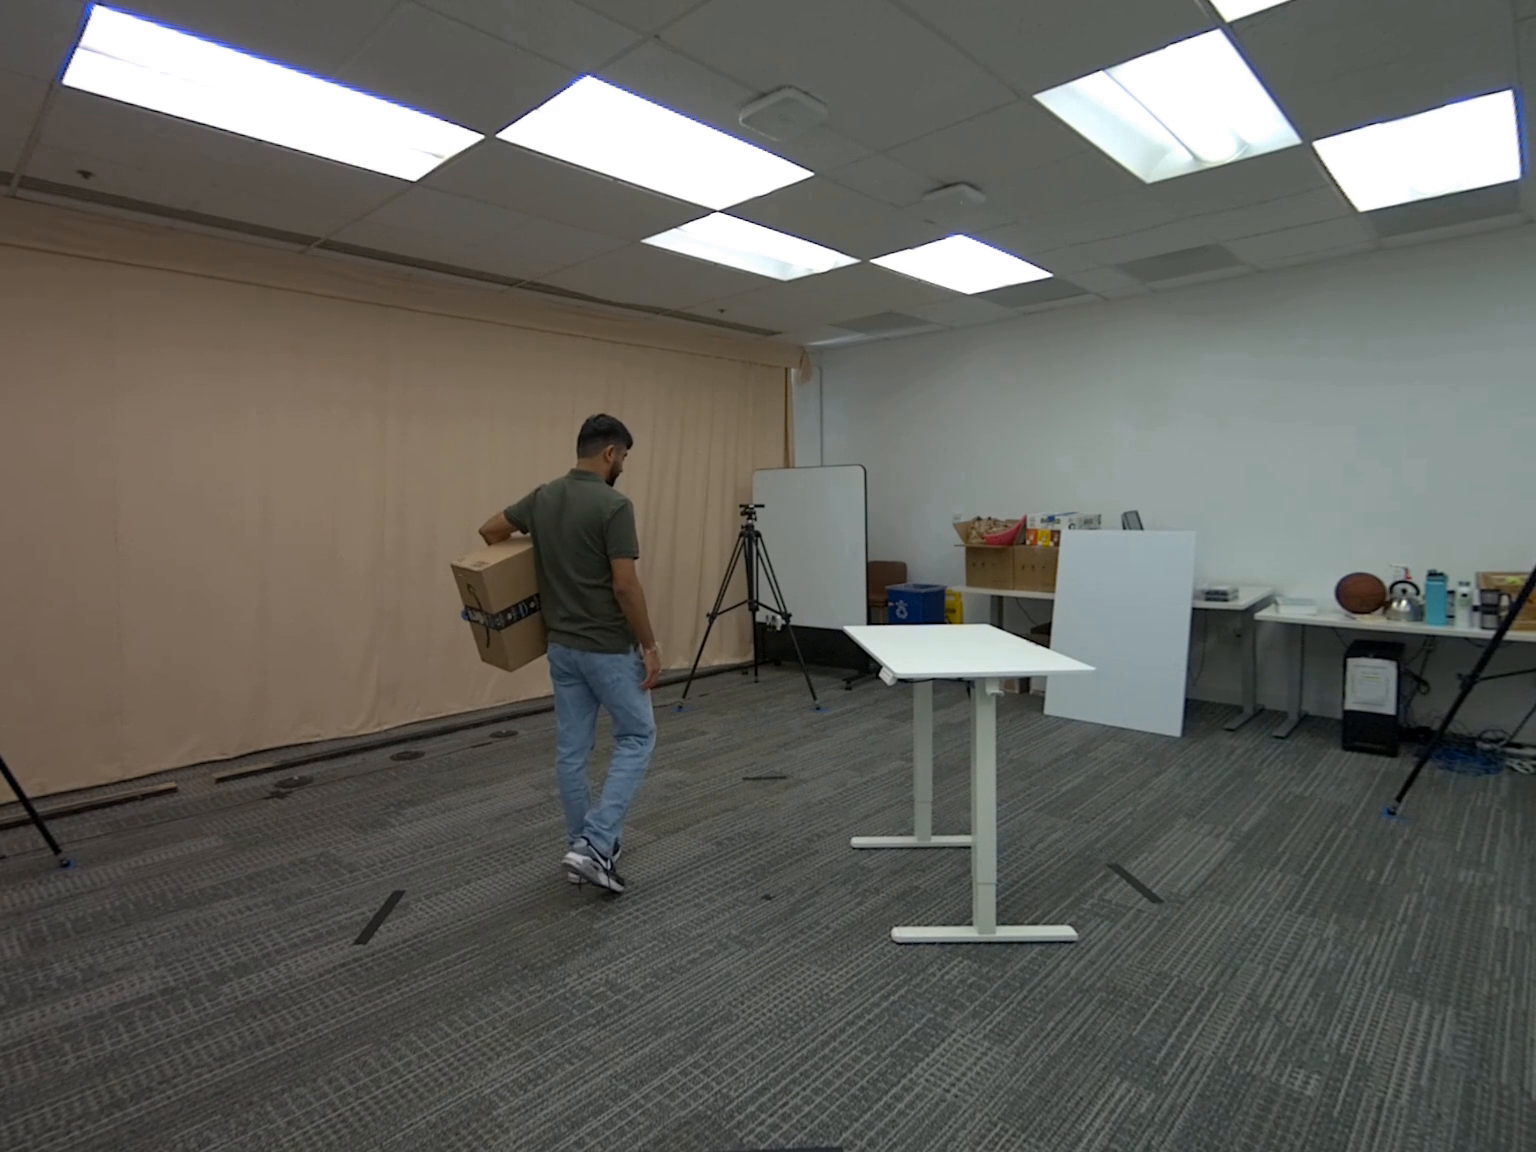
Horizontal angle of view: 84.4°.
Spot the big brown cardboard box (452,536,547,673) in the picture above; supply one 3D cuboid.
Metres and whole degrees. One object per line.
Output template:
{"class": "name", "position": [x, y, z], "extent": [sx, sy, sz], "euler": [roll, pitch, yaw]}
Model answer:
{"class": "big brown cardboard box", "position": [-0.875, 0.049, 3.261], "extent": [0.241, 0.411, 0.577], "euler": [9, 27, 43]}
